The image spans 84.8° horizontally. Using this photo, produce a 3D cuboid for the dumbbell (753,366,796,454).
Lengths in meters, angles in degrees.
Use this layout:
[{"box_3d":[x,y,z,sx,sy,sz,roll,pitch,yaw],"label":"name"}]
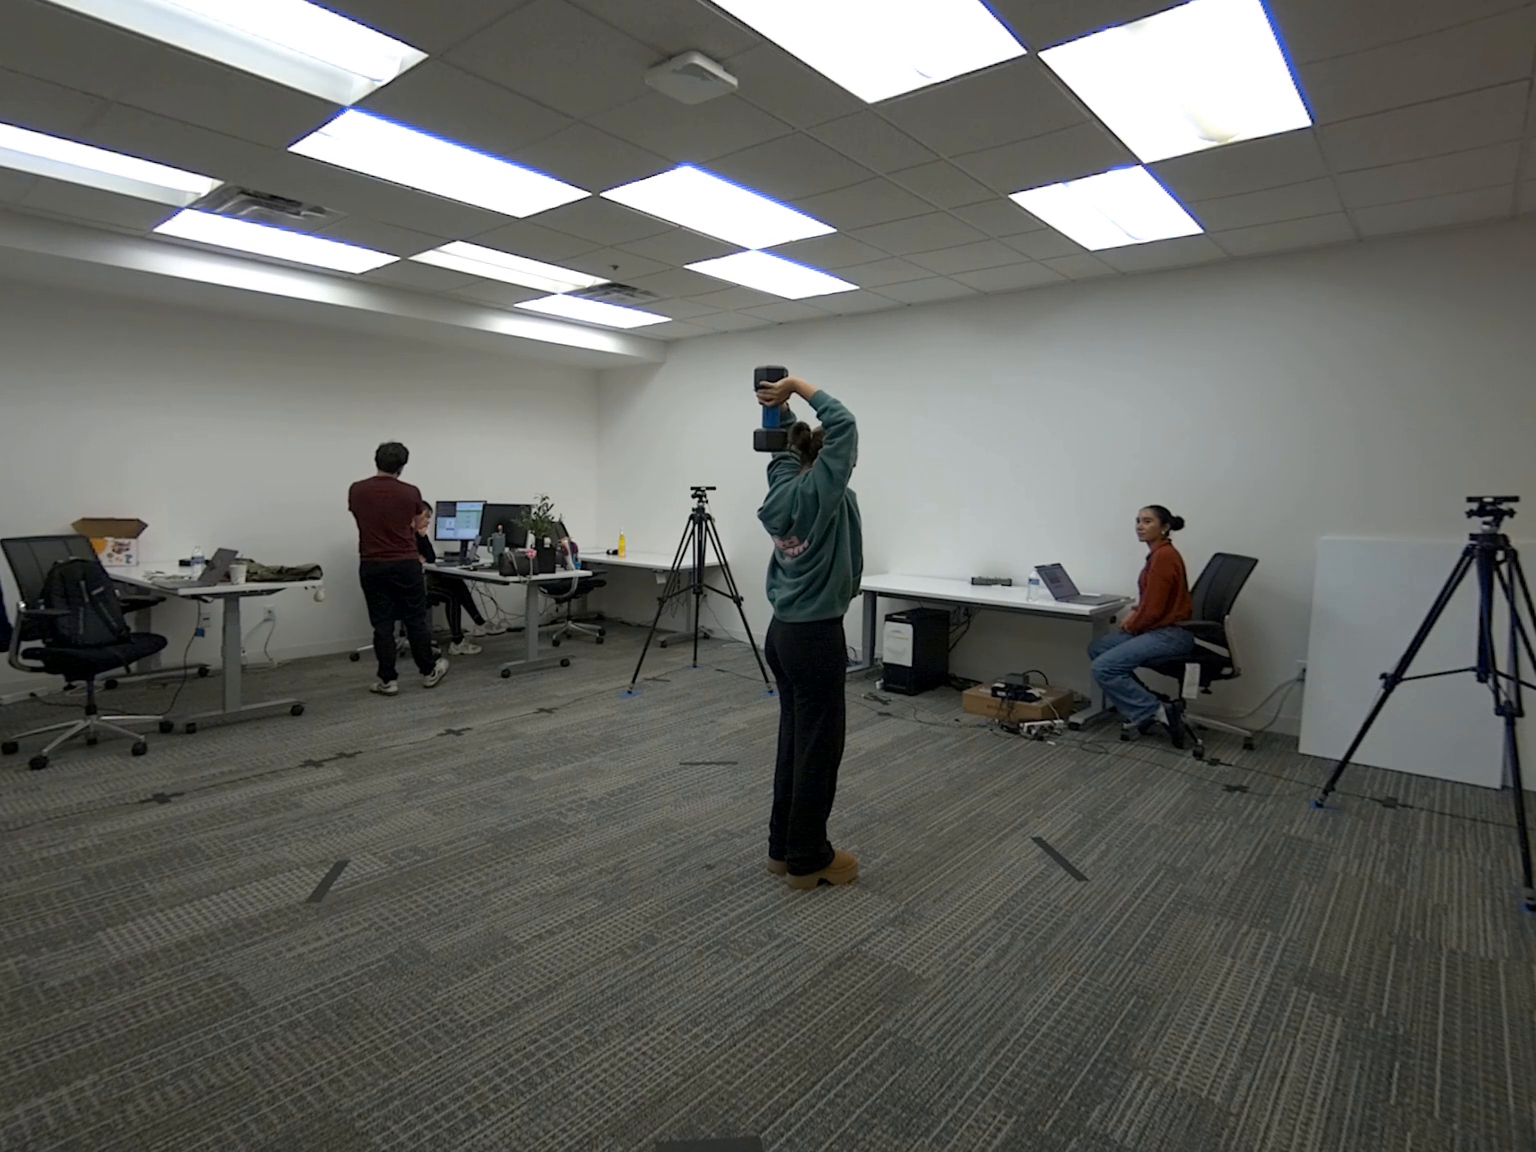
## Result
[{"box_3d":[0.007,-0.580,2.937,0.121,0.292,0.110,0,4,-13],"label":"dumbbell"}]
